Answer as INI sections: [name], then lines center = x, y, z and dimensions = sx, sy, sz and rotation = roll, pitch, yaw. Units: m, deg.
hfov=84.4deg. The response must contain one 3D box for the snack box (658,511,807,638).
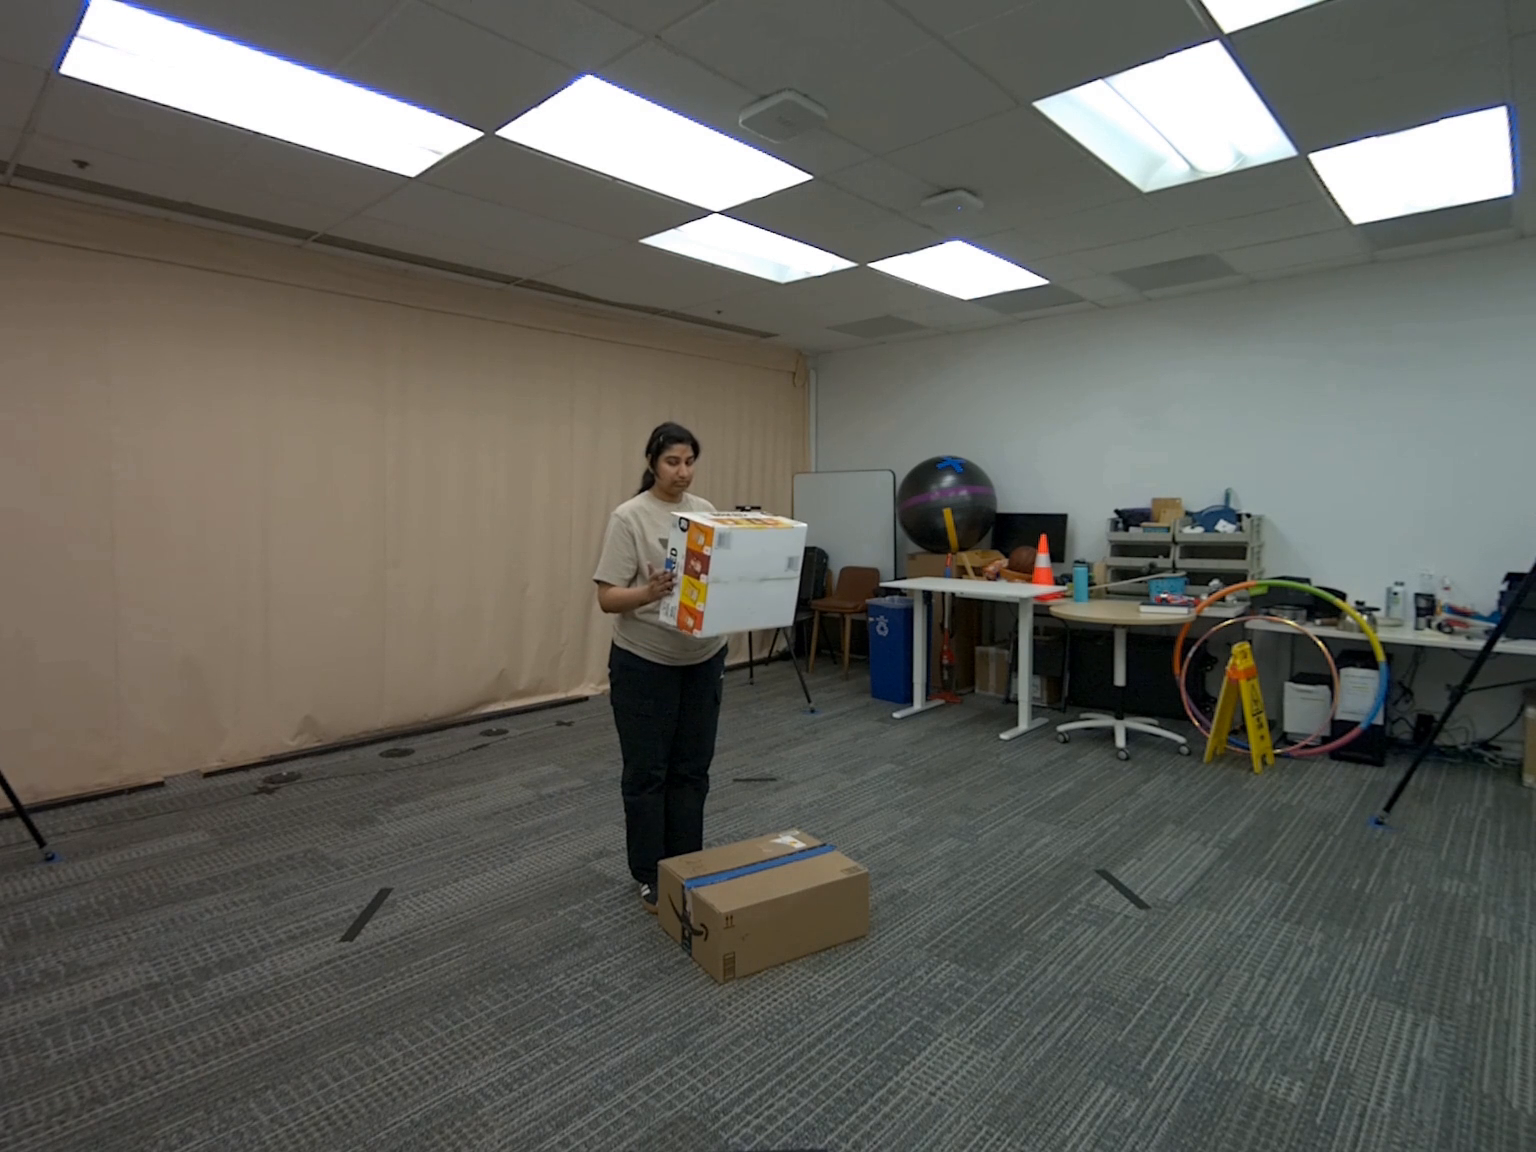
[snack box]
center = -0.098, -0.010, 2.634
dimensions = 0.393, 0.338, 0.213
rotation = -4, 17, -43
